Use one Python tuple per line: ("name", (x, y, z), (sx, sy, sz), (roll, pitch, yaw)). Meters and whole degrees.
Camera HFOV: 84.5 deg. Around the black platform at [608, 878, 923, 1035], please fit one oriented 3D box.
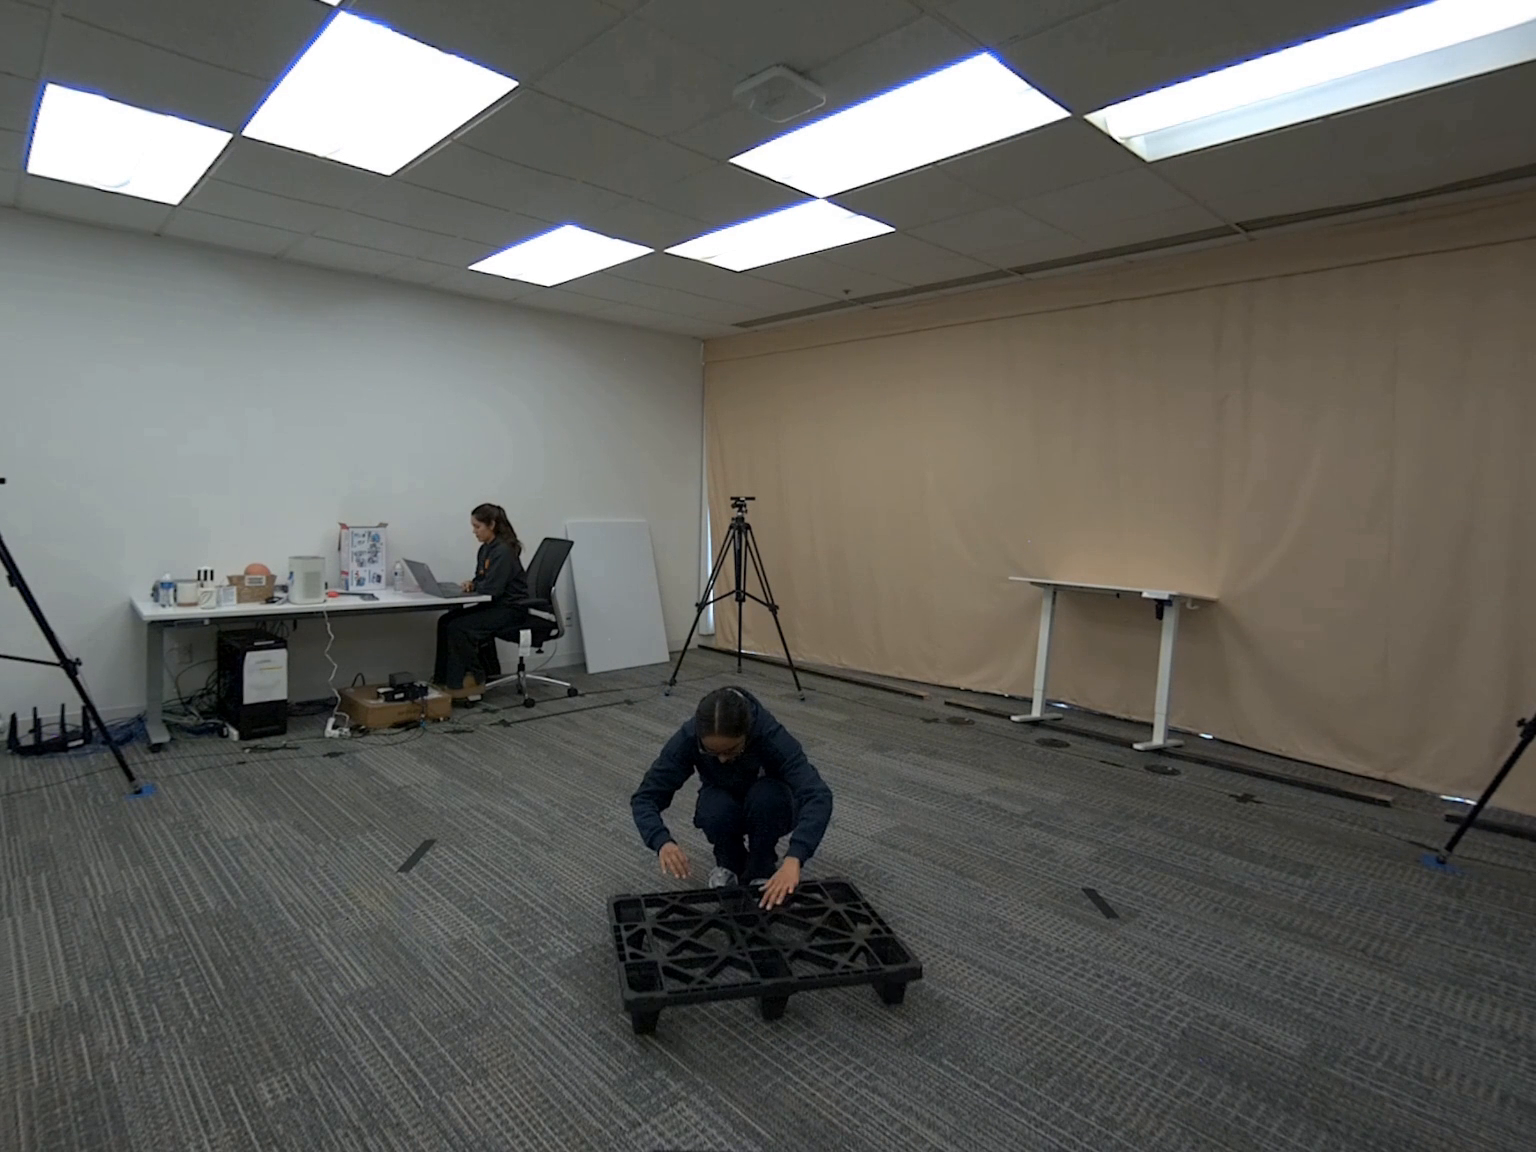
("black platform", (-0.052, 1.093, 2.446), (0.797, 0.143, 0.612), (0, 2, -13))
